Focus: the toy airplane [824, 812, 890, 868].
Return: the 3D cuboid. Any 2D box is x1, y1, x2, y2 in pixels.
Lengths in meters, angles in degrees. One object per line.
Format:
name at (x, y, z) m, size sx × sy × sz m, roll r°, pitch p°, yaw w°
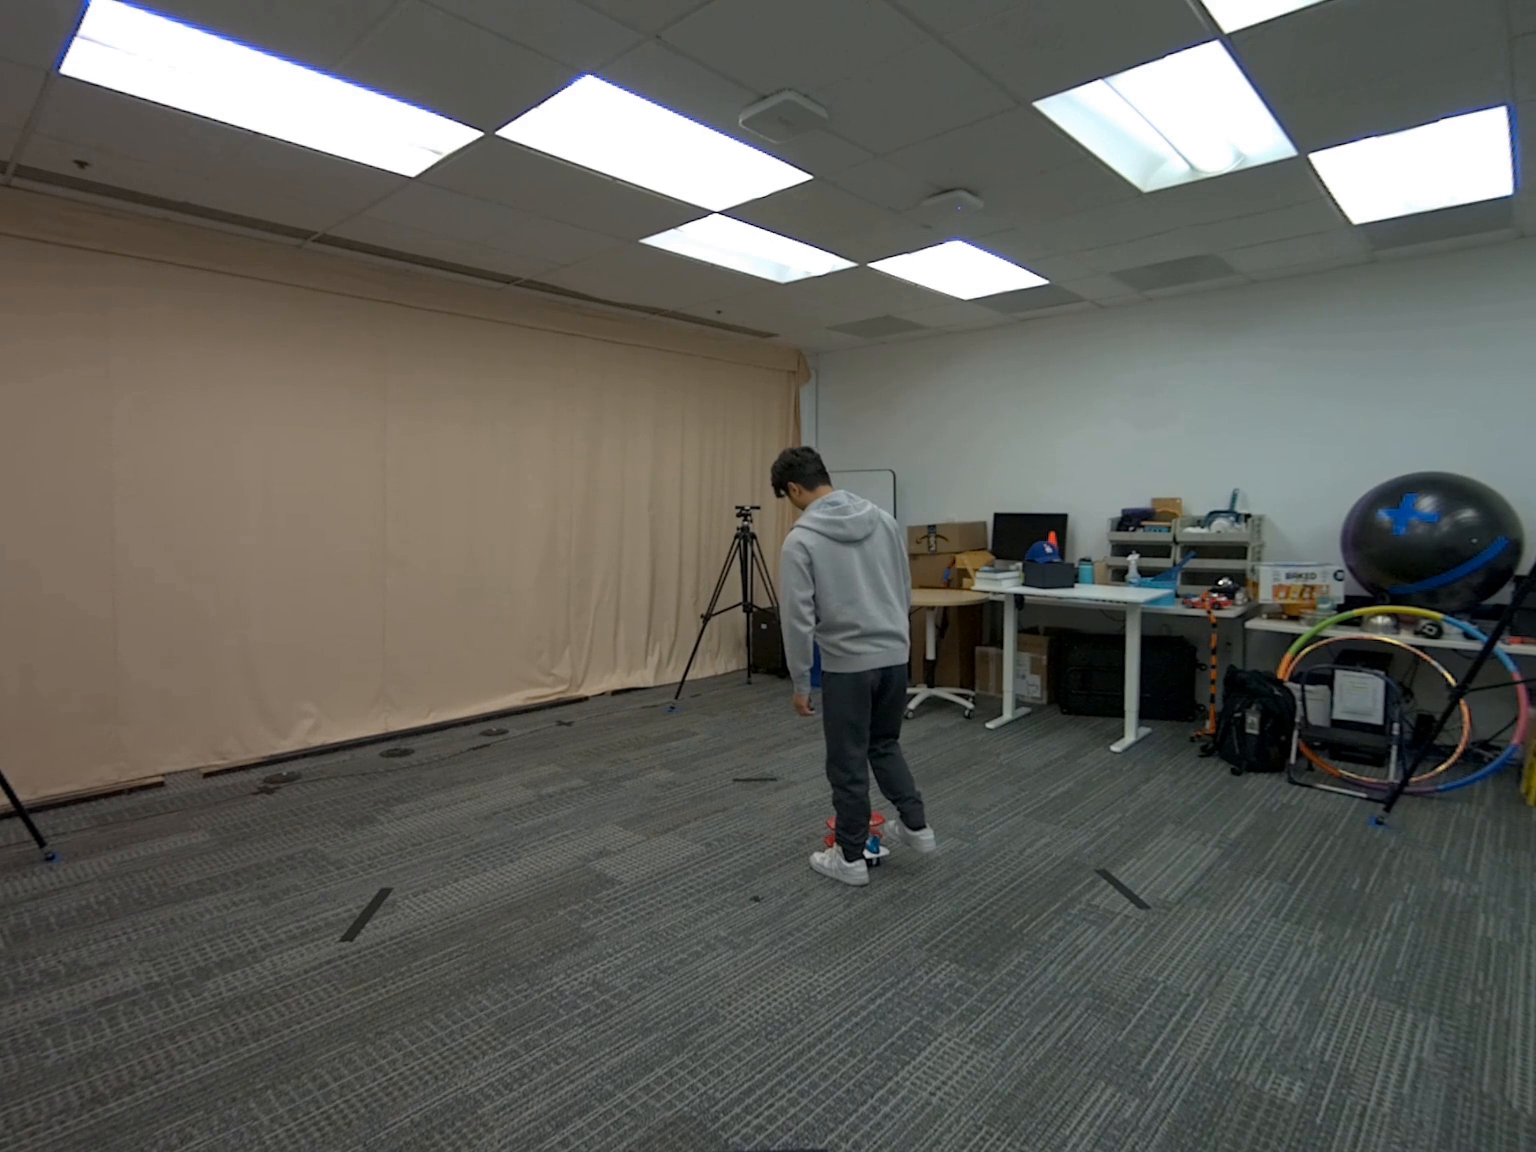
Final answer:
toy airplane at (0.377, 1.038, 3.340) m, size 0.267 × 0.156 × 0.243 m, roll 2°, pitch 3°, yaw 38°
